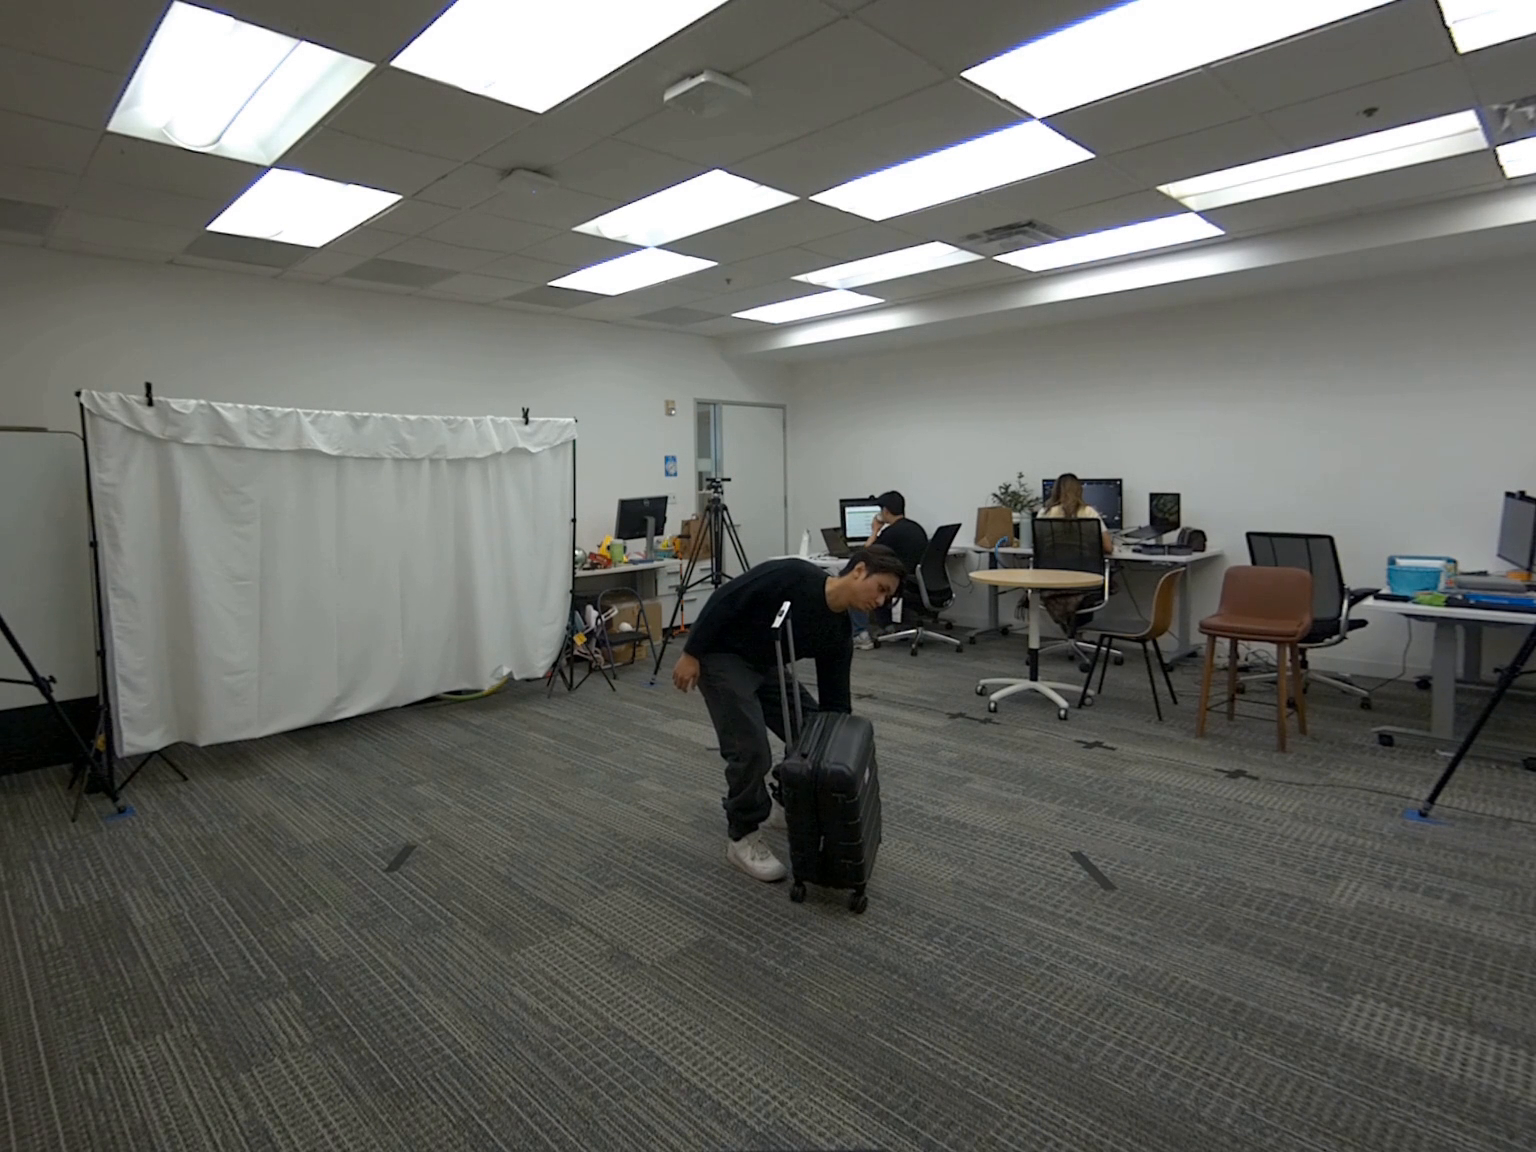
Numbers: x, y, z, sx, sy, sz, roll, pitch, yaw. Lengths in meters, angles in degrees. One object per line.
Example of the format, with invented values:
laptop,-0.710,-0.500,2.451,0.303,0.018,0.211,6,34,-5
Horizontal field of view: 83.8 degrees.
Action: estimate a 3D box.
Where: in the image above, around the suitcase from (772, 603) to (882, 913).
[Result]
suitcase,0.211,0.567,2.759,0.261,0.959,0.386,1,22,15
